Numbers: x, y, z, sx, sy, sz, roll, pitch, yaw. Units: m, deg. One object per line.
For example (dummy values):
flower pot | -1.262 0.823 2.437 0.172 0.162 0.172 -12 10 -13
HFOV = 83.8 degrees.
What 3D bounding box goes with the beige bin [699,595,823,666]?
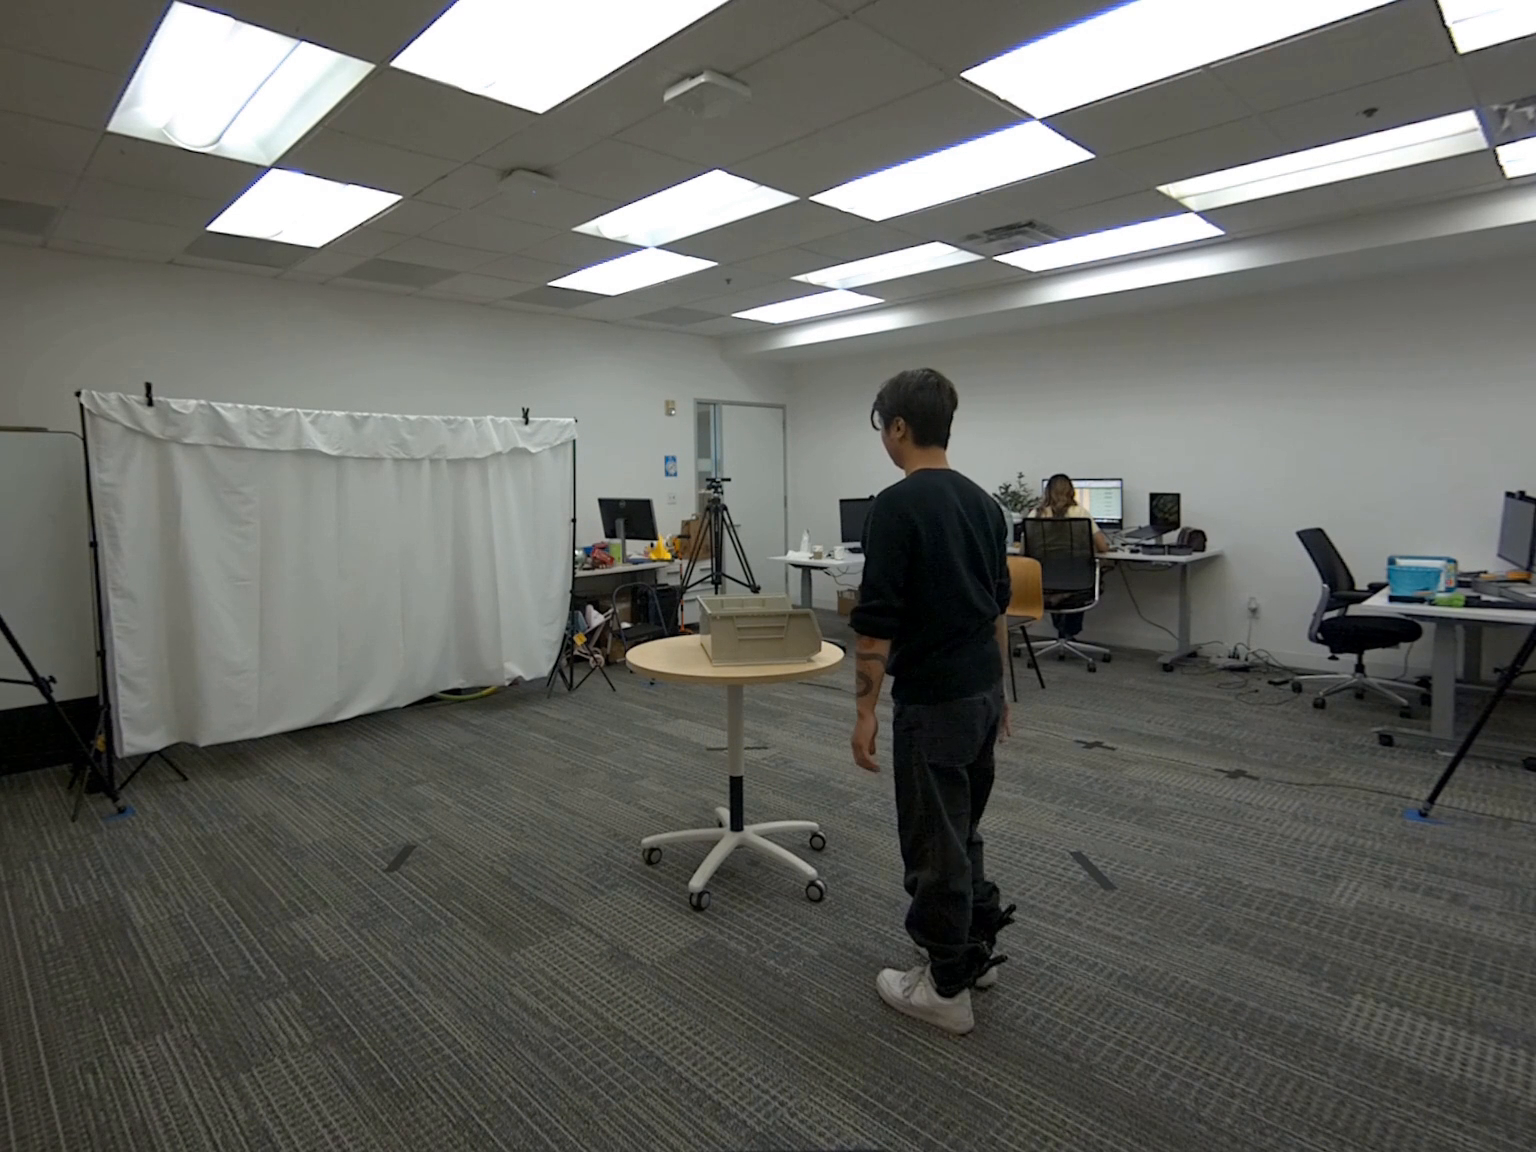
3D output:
beige bin | -0.039 0.183 3.003 0.374 0.188 0.428 -2 6 -9
